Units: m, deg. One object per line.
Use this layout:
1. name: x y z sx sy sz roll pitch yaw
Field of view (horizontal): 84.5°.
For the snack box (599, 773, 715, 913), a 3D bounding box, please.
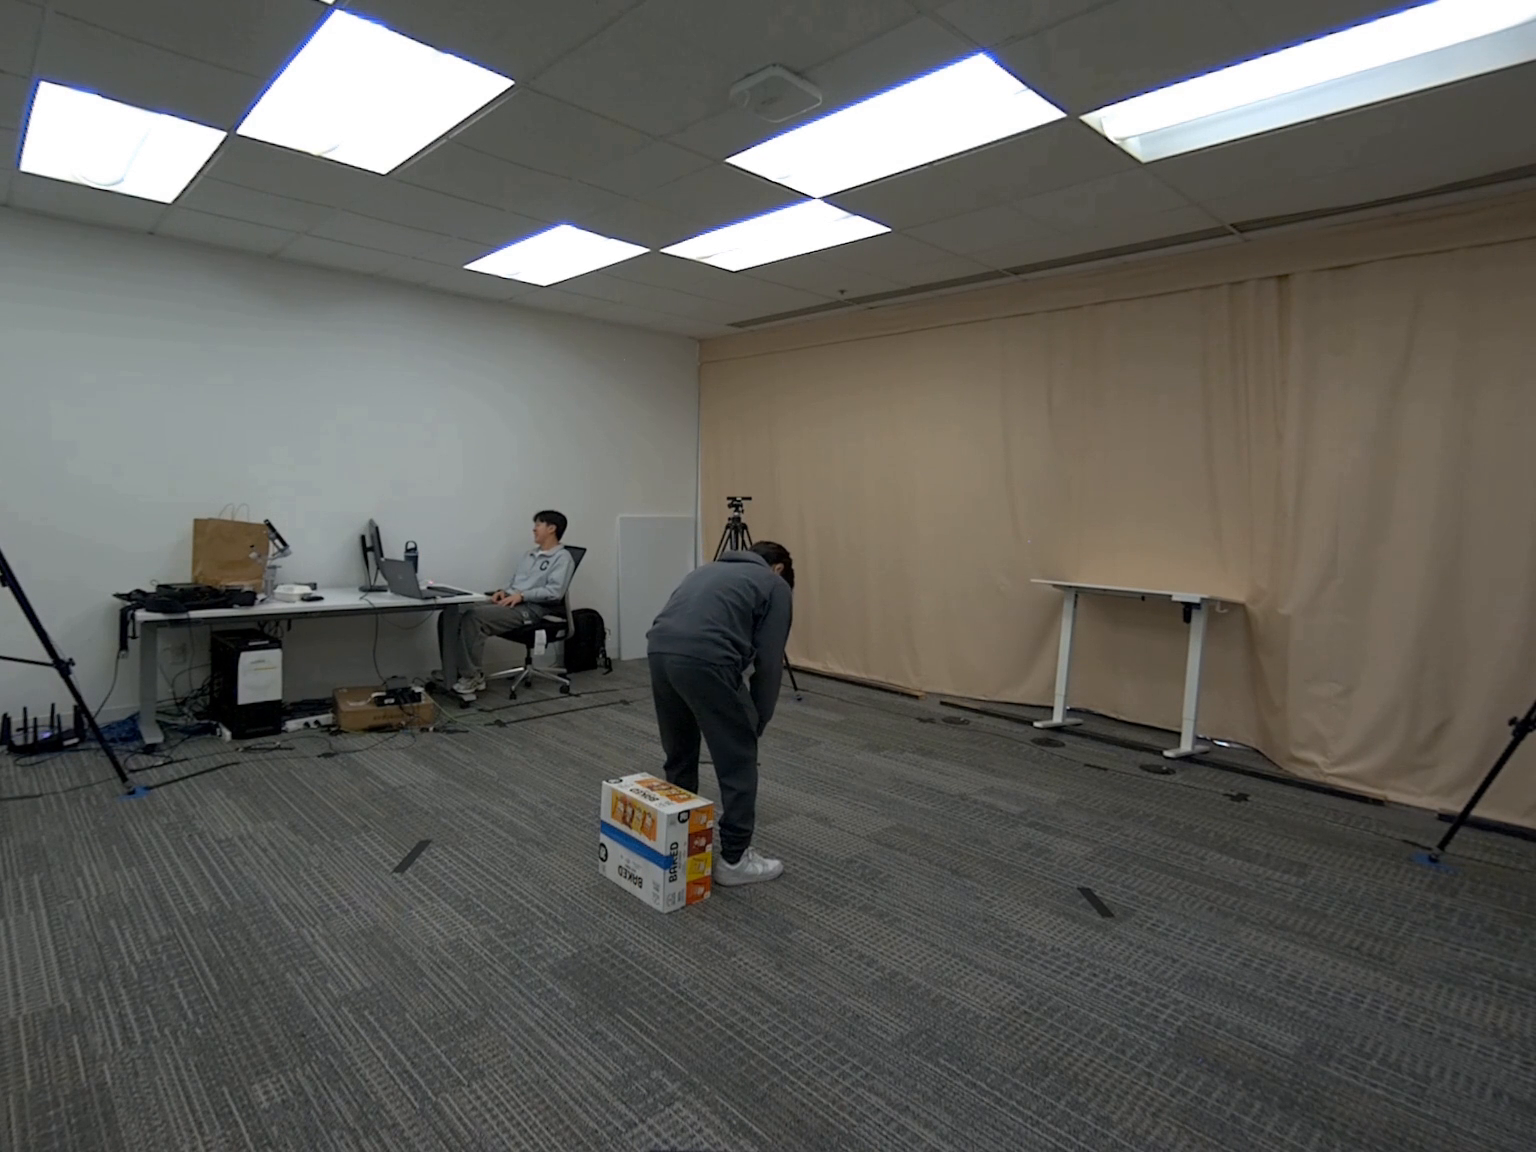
1. snack box: -0.412 0.939 3.010 0.201 0.340 0.415 0 4 -43
